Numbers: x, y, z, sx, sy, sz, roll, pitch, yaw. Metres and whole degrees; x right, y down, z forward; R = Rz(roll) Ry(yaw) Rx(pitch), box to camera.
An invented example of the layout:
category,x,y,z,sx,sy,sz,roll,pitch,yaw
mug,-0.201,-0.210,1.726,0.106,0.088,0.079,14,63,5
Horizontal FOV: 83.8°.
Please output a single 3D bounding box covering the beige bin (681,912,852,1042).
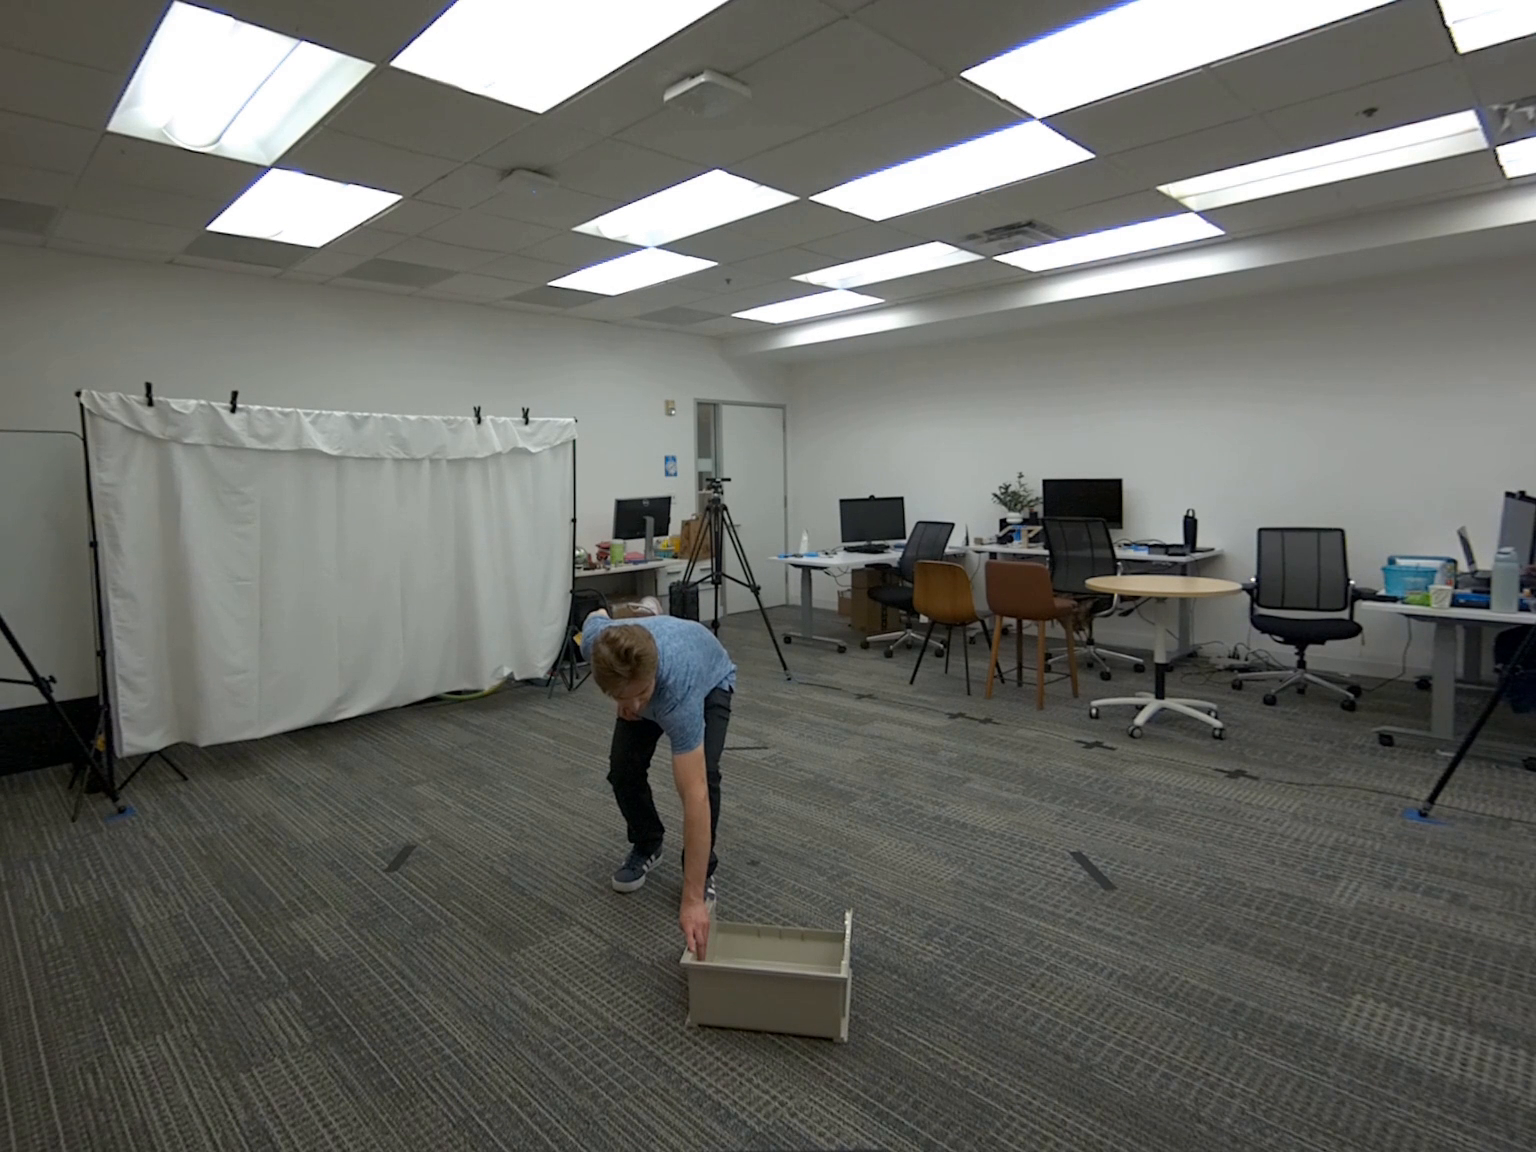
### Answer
category,x,y,z,sx,sy,sz,roll,pitch,yaw
beige bin,0.015,1.046,2.313,0.426,0.188,0.376,0,7,9
